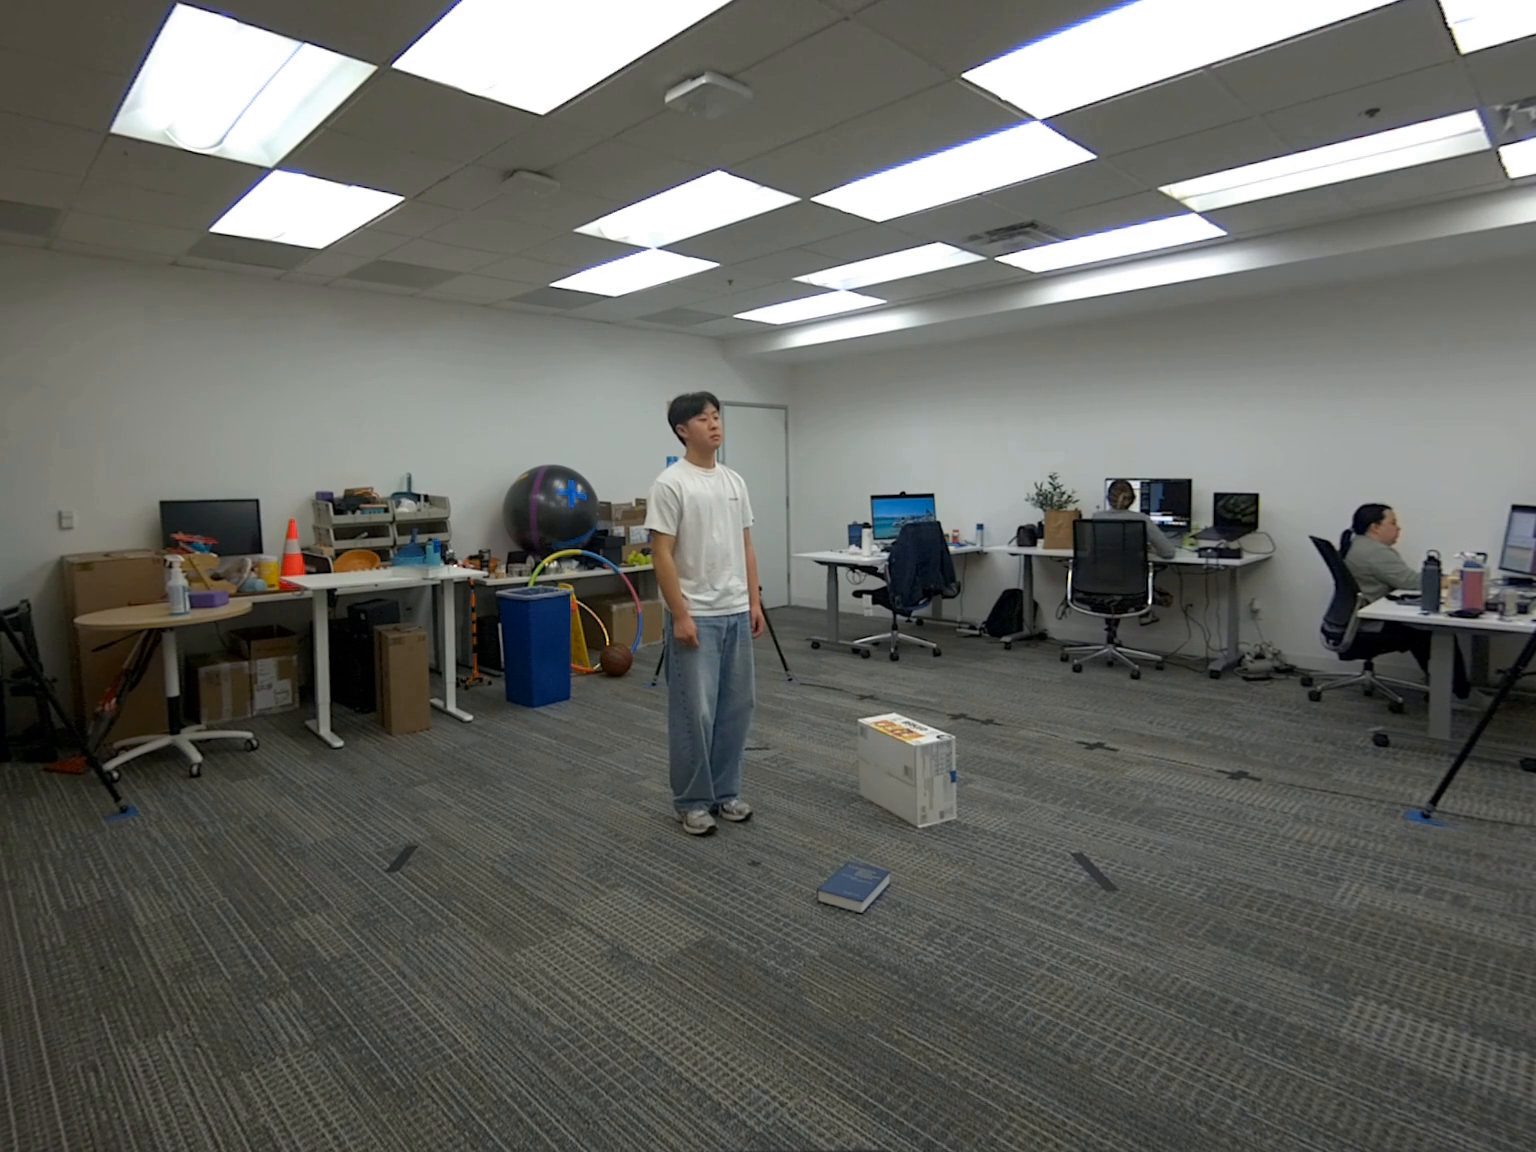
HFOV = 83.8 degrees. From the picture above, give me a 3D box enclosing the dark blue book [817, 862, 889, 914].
[{"bbox_3d":[0.298,1.044,2.869,0.168,0.045,0.240,3,7,31],"label":"dark blue book"}]
